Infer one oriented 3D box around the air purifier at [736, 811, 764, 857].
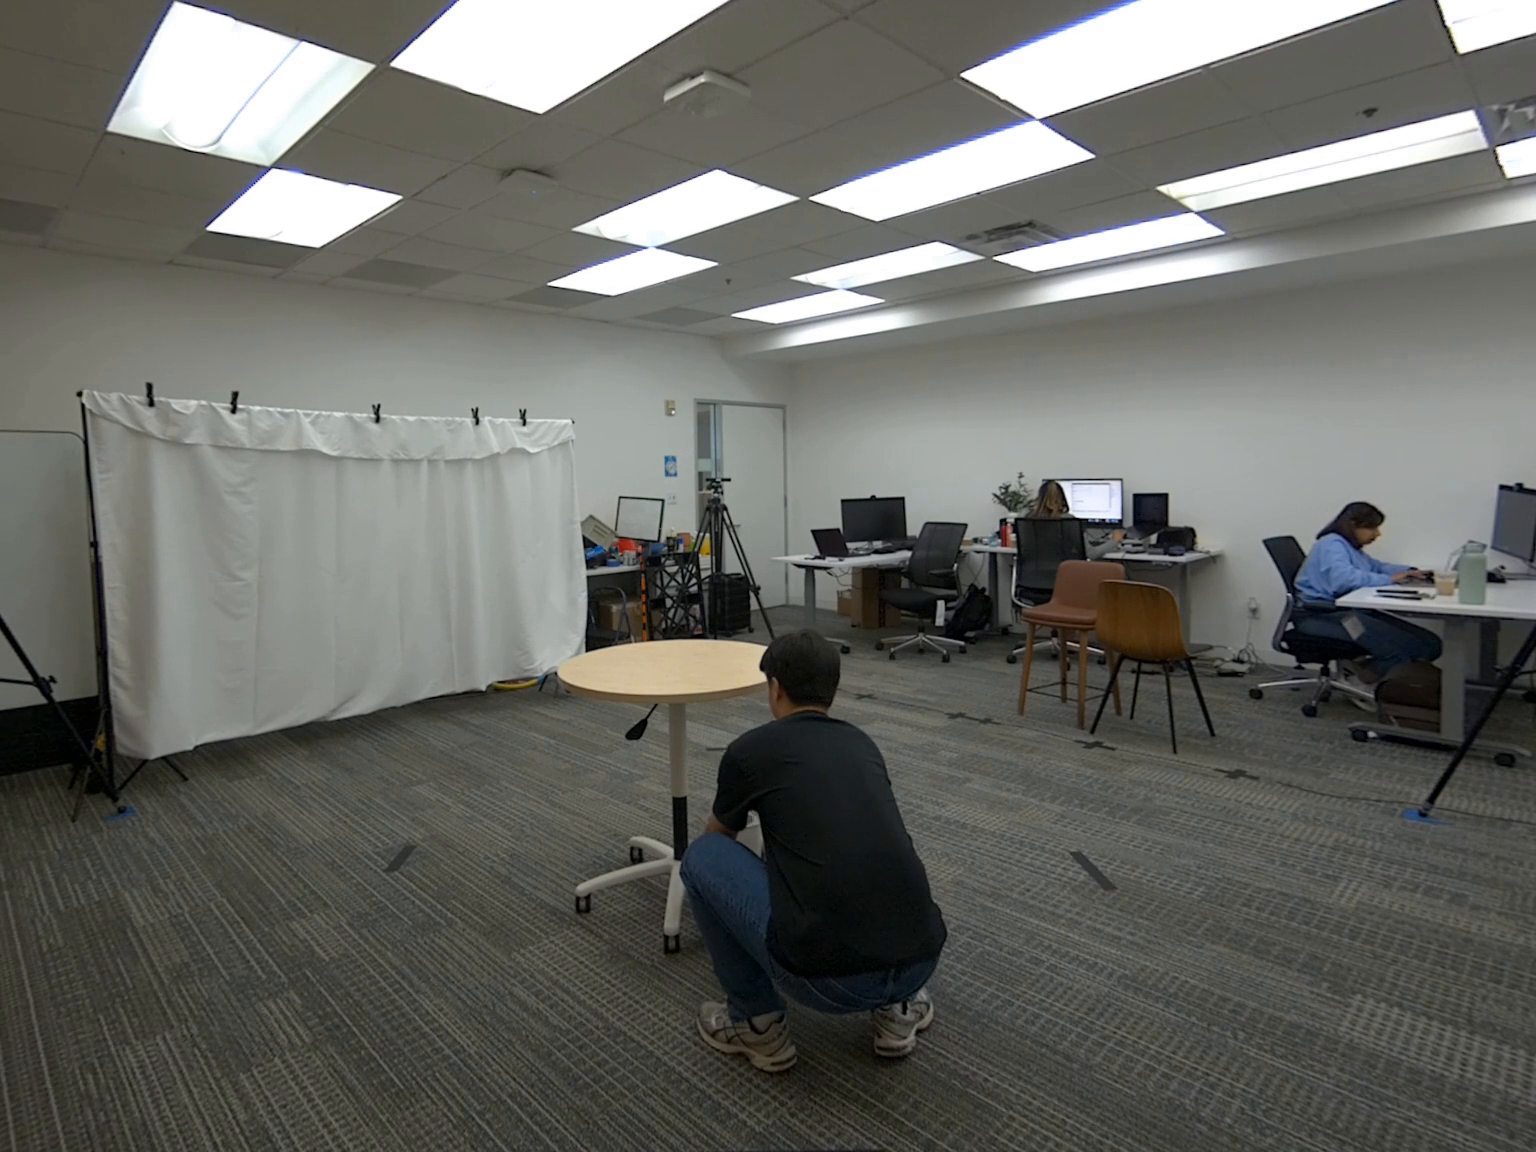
[{"bbox_3d":[-0.102,0.883,2.632,0.167,0.265,0.176,0,2,-32],"label":"air purifier"}]
